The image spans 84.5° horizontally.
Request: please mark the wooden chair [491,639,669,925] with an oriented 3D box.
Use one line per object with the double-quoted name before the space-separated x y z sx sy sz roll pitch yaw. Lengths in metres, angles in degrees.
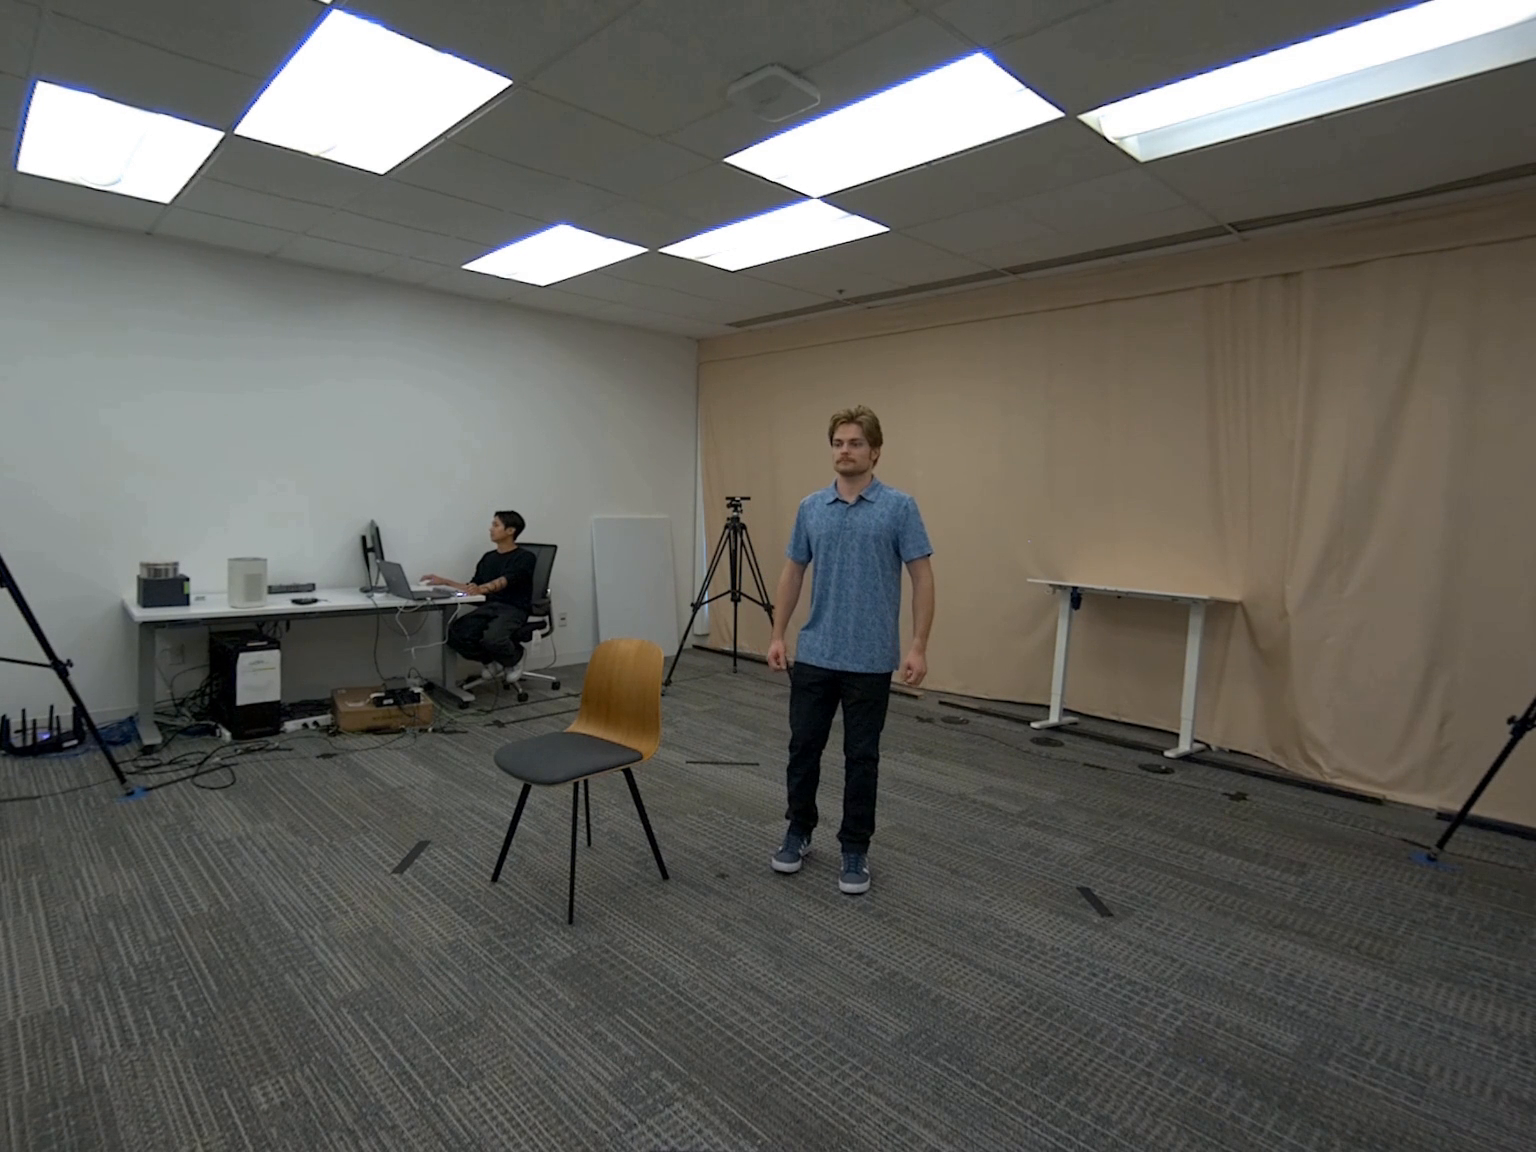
"wooden chair" -0.671 0.677 2.998 0.490 0.878 0.510 4 0 39
